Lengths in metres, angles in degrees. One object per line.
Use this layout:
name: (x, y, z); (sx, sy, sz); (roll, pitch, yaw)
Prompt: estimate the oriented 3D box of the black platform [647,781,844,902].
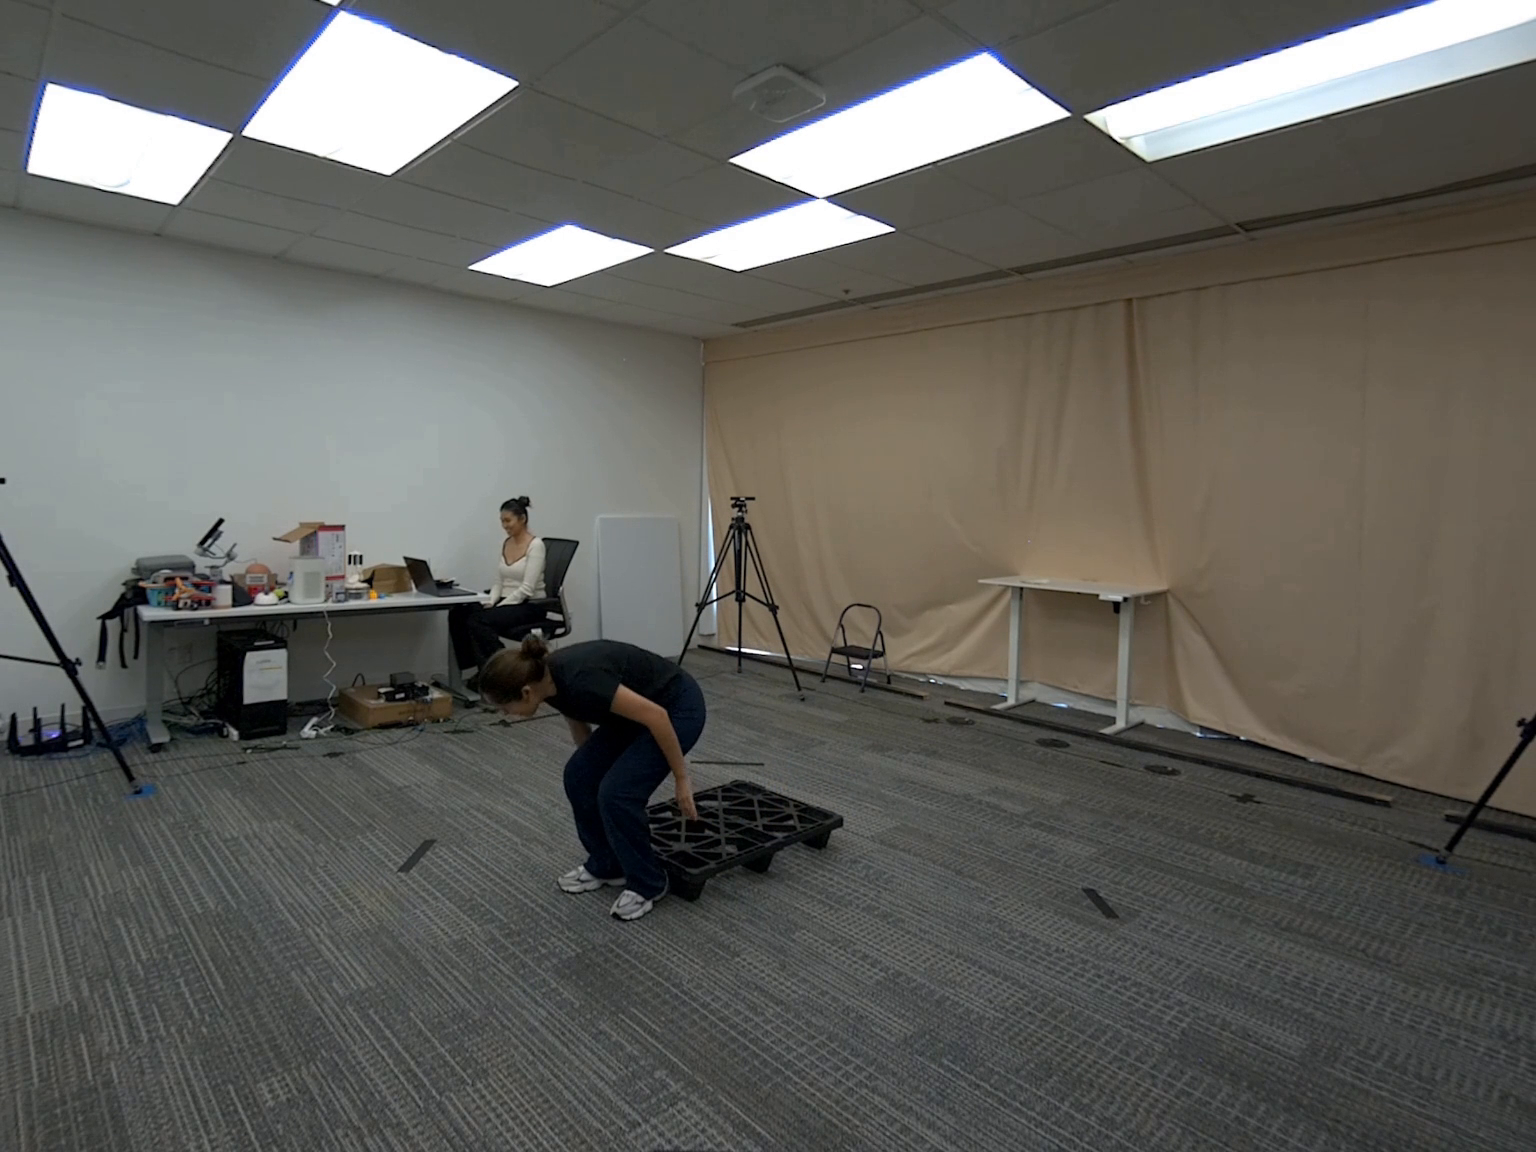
black platform: (-0.193, 1.026, 3.296); (0.787, 0.143, 0.620); (-3, 6, -45)
